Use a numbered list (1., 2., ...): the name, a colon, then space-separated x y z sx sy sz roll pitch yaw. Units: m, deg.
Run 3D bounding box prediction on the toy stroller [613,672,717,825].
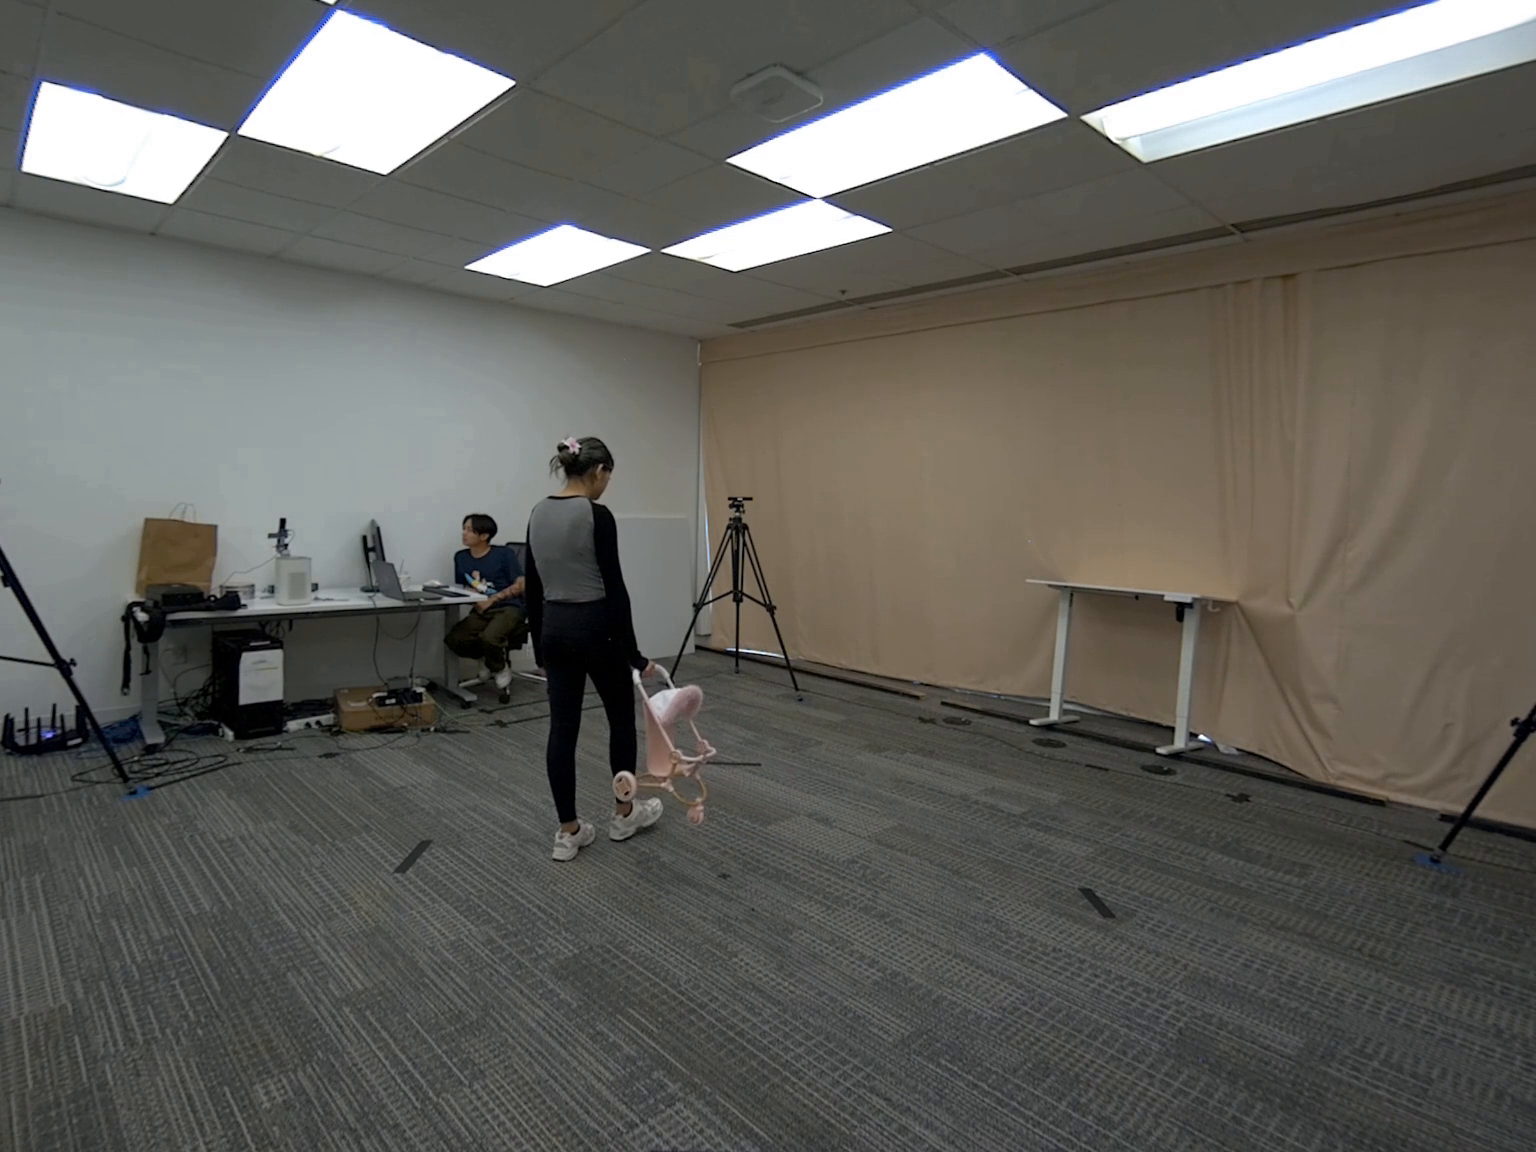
1. toy stroller: -0.357 0.631 3.116 0.350 0.535 0.275 8 1 33
